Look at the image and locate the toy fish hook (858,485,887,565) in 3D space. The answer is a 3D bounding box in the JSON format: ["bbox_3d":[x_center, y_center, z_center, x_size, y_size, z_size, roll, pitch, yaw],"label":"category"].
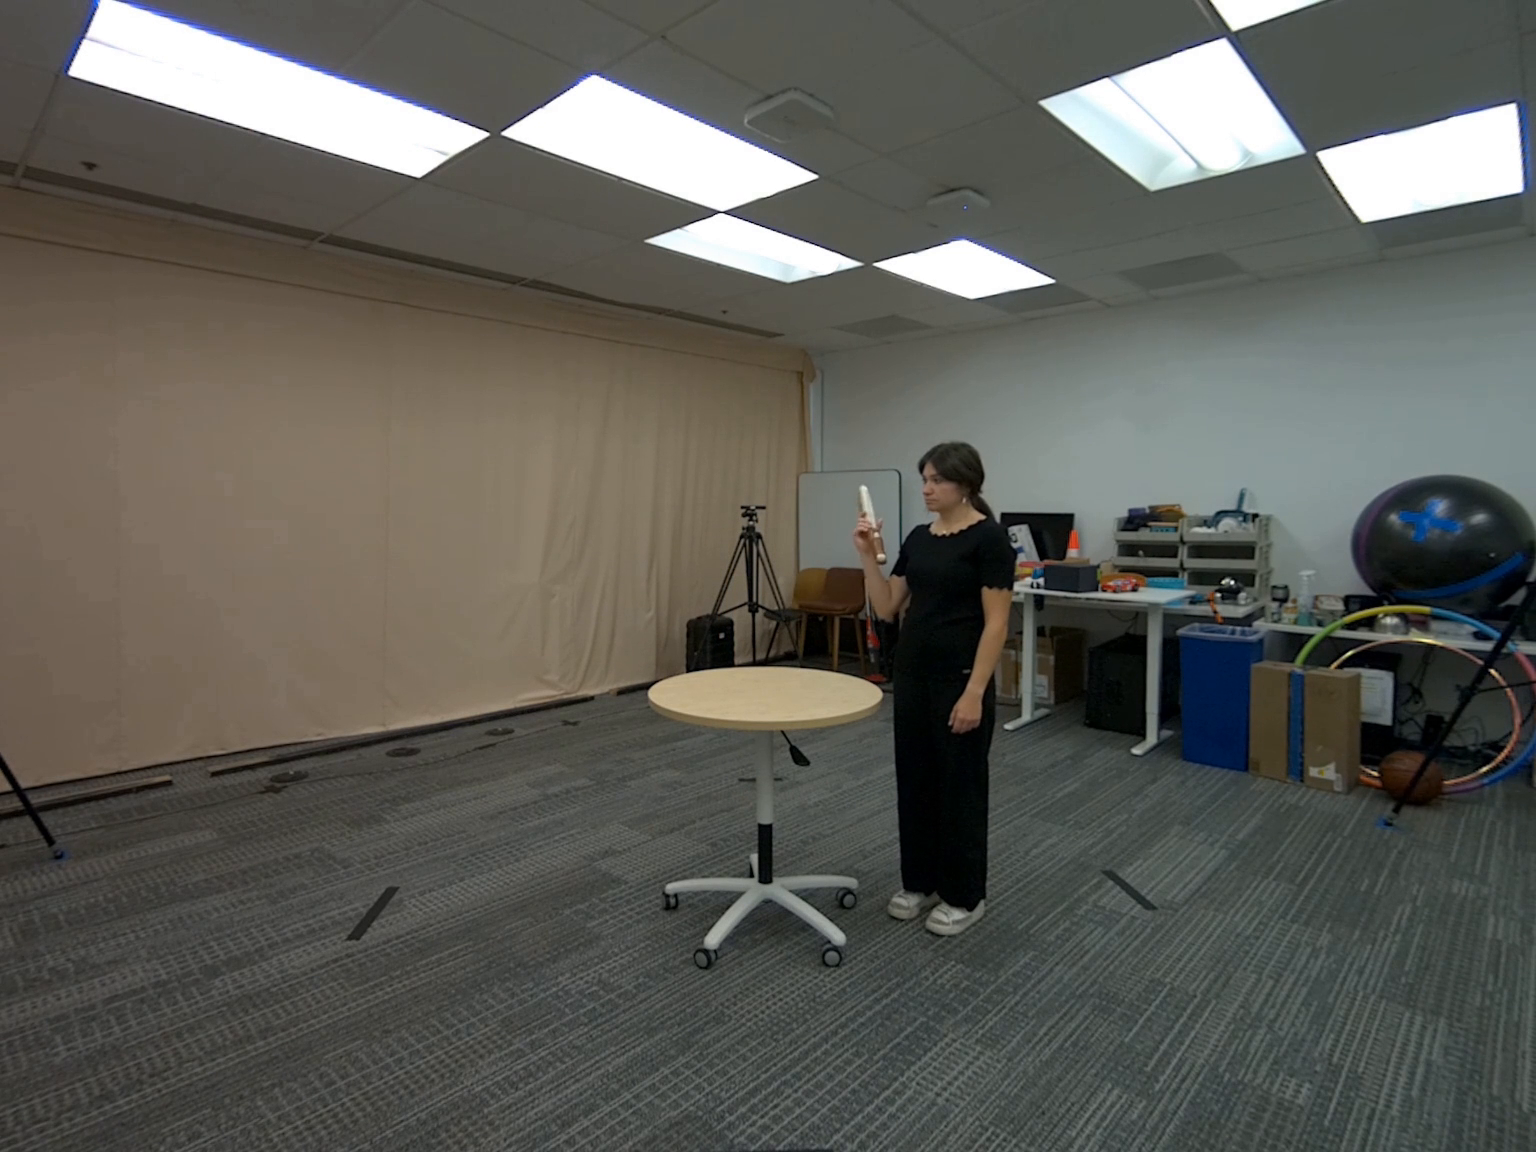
[{"bbox_3d":[0.362,-0.134,2.909,0.049,0.220,0.513,-6,31,6],"label":"toy fish hook"}]
